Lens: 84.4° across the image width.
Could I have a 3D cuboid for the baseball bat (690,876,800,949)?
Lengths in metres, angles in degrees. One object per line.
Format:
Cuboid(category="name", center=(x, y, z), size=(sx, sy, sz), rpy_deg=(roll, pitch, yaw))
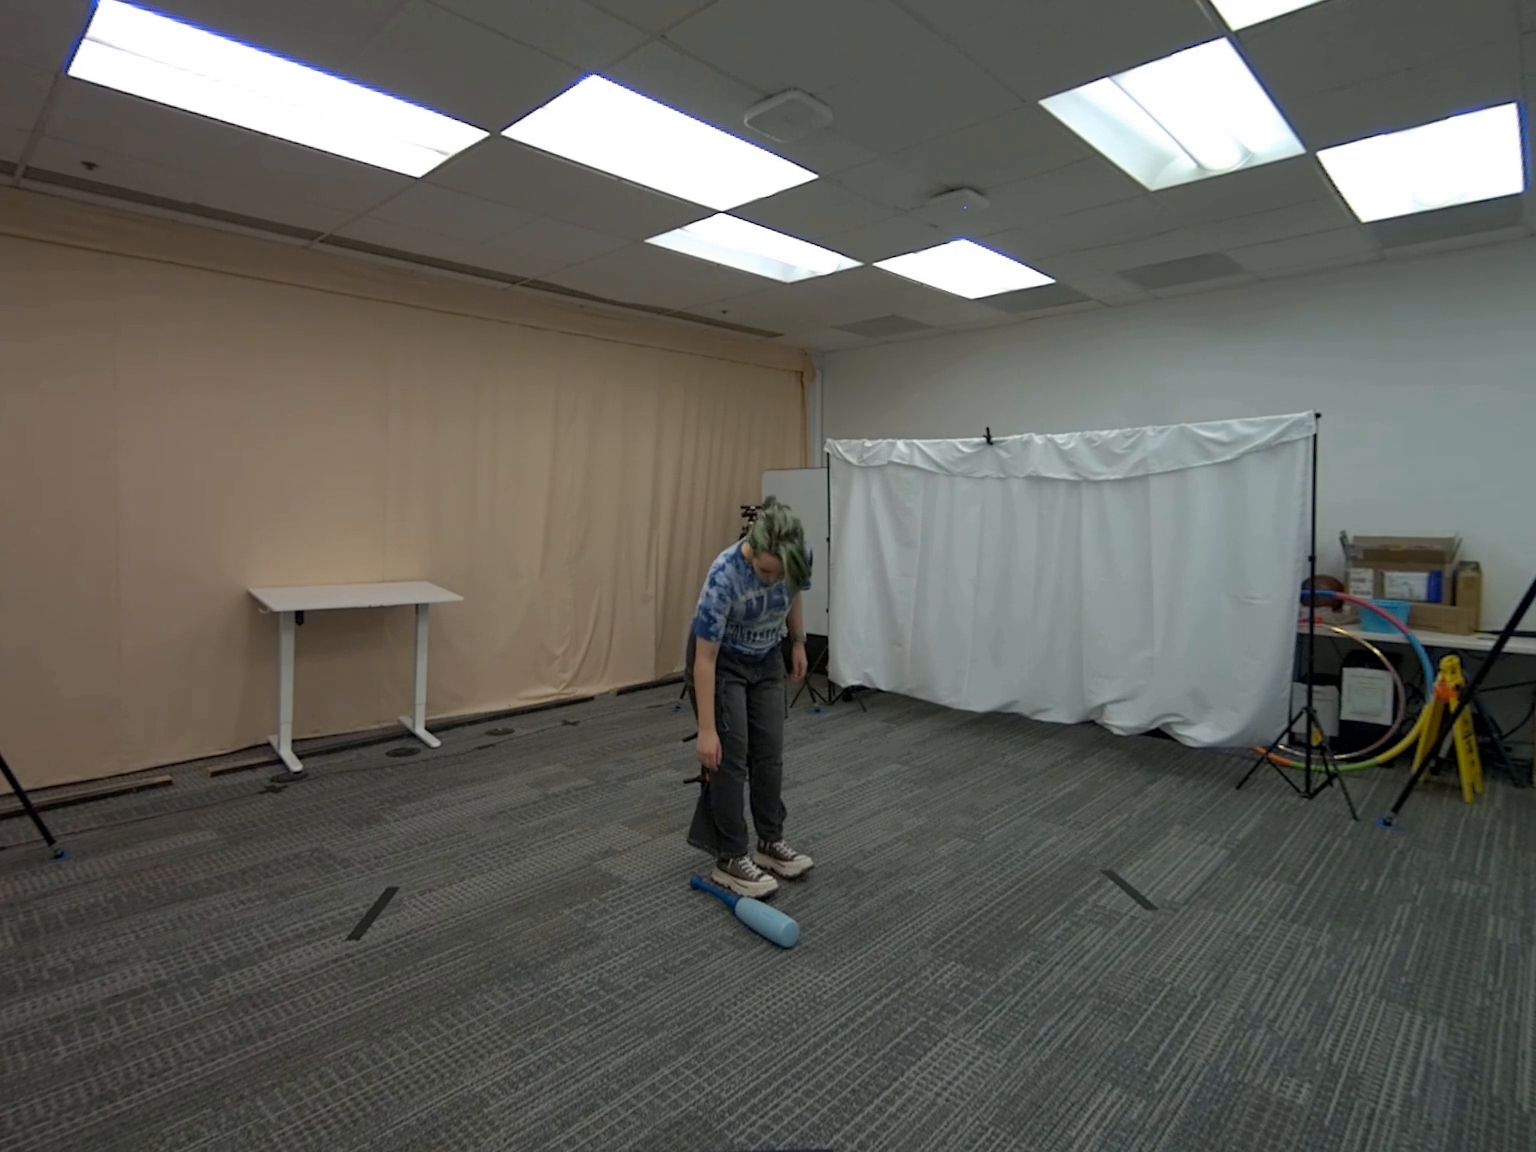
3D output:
Cuboid(category="baseball bat", center=(-0.099, 1.117, 2.853), size=(0.086, 0.089, 0.560), rpy_deg=(-3, 2, -37))
